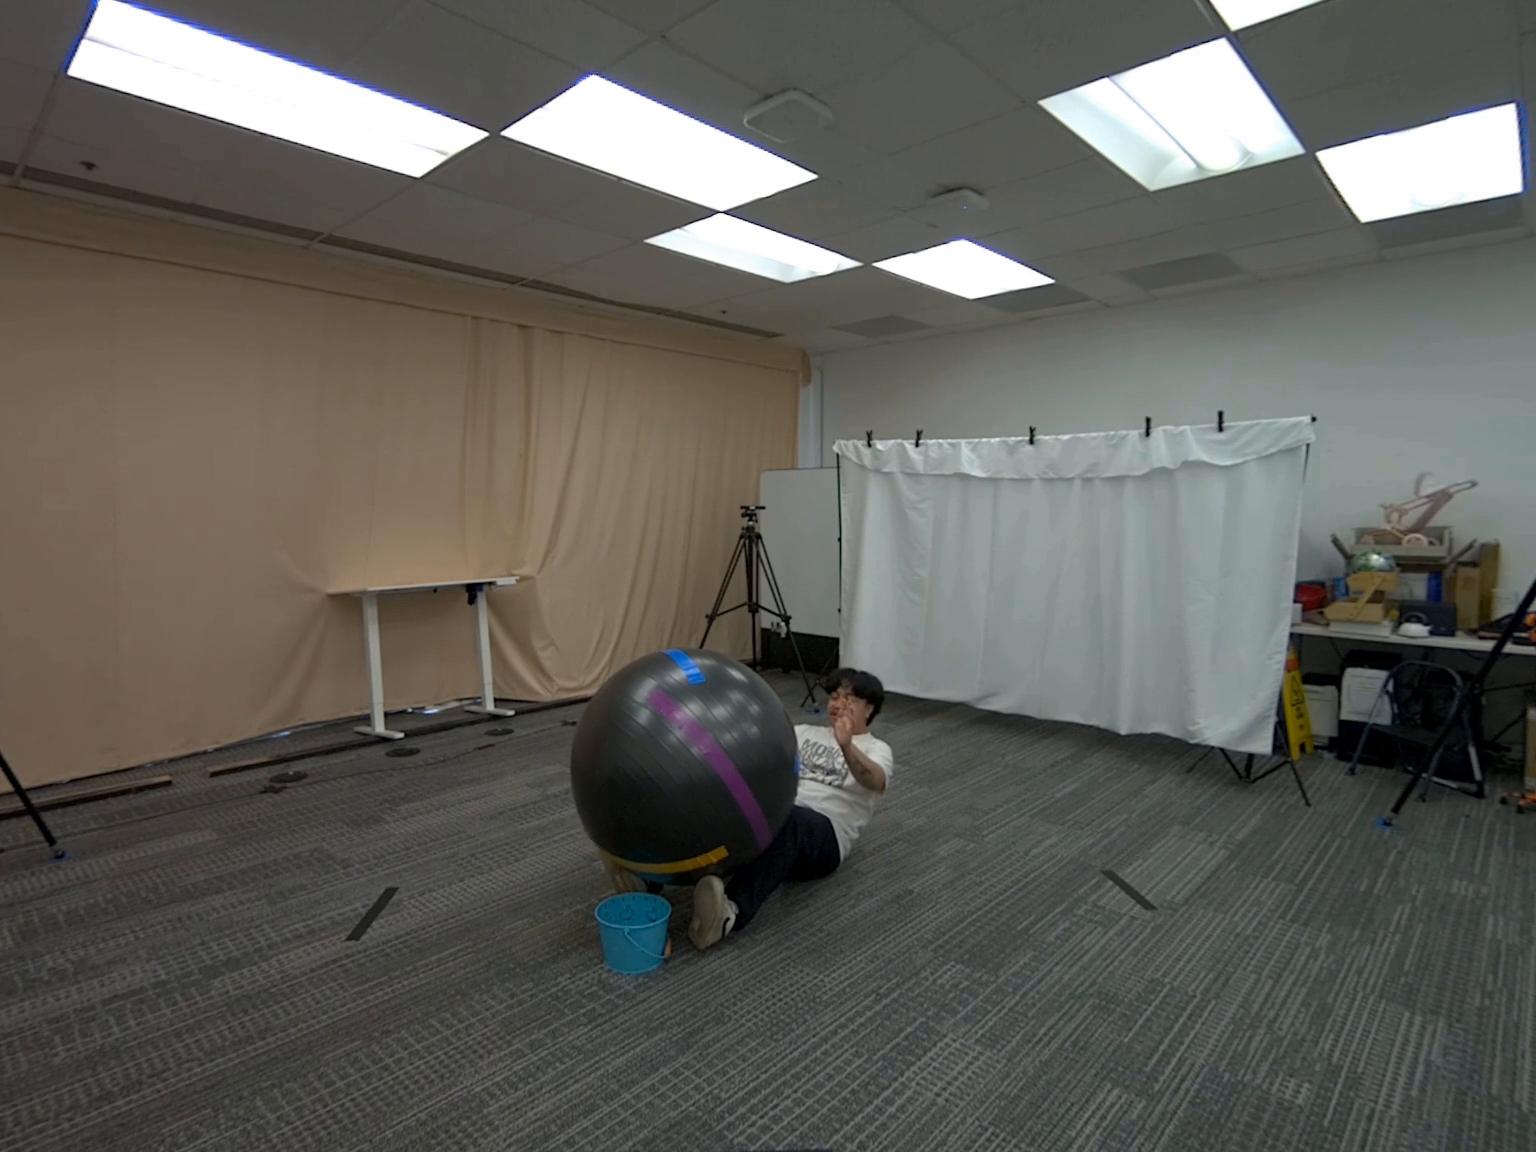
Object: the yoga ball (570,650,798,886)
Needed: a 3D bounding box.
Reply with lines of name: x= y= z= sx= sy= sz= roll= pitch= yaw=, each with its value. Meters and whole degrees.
yoga ball: x=-0.273 y=0.618 z=2.799 sx=0.757 sy=0.756 sz=0.760 roll=0 pitch=4 yaw=-2
